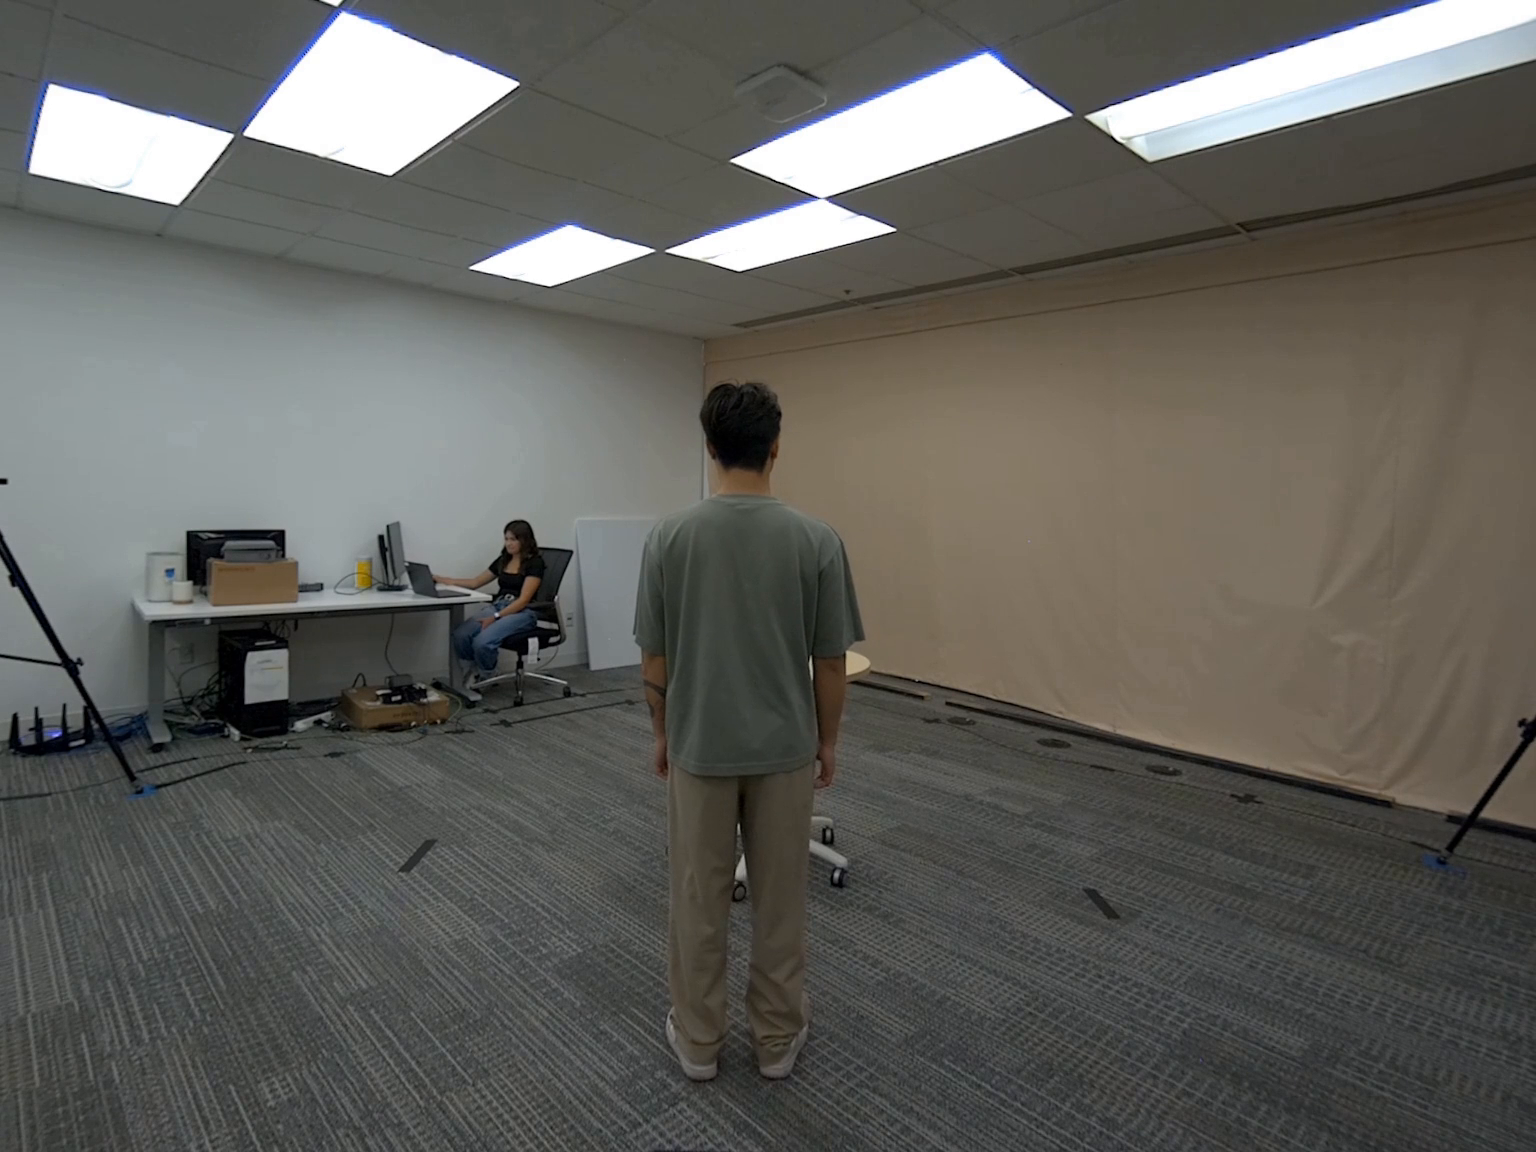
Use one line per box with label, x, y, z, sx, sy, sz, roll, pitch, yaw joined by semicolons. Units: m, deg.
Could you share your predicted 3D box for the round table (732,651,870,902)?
round table;0.007;0.709;3.237;0.784;0.784;0.788;1;4;-1
